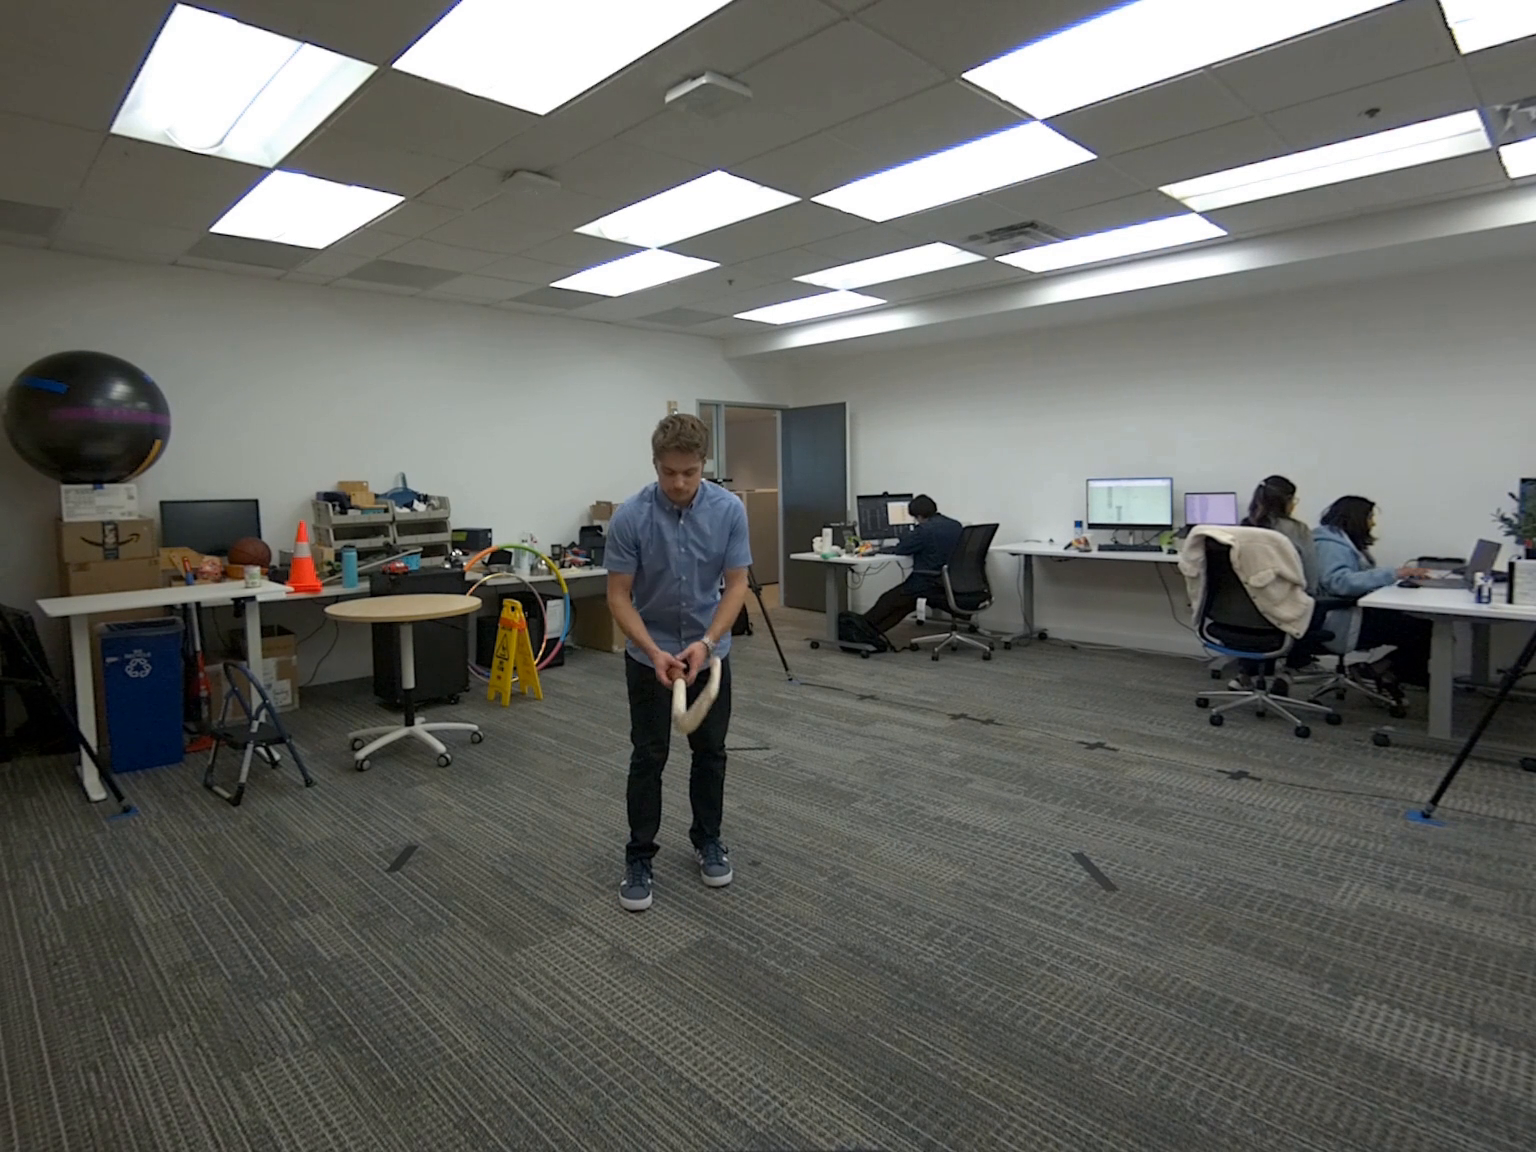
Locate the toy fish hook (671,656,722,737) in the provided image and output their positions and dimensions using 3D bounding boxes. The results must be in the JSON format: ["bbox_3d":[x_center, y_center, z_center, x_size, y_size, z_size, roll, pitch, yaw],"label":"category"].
[{"bbox_3d":[-0.231,0.317,2.508,0.047,0.224,0.517,36,3,-18],"label":"toy fish hook"}]
